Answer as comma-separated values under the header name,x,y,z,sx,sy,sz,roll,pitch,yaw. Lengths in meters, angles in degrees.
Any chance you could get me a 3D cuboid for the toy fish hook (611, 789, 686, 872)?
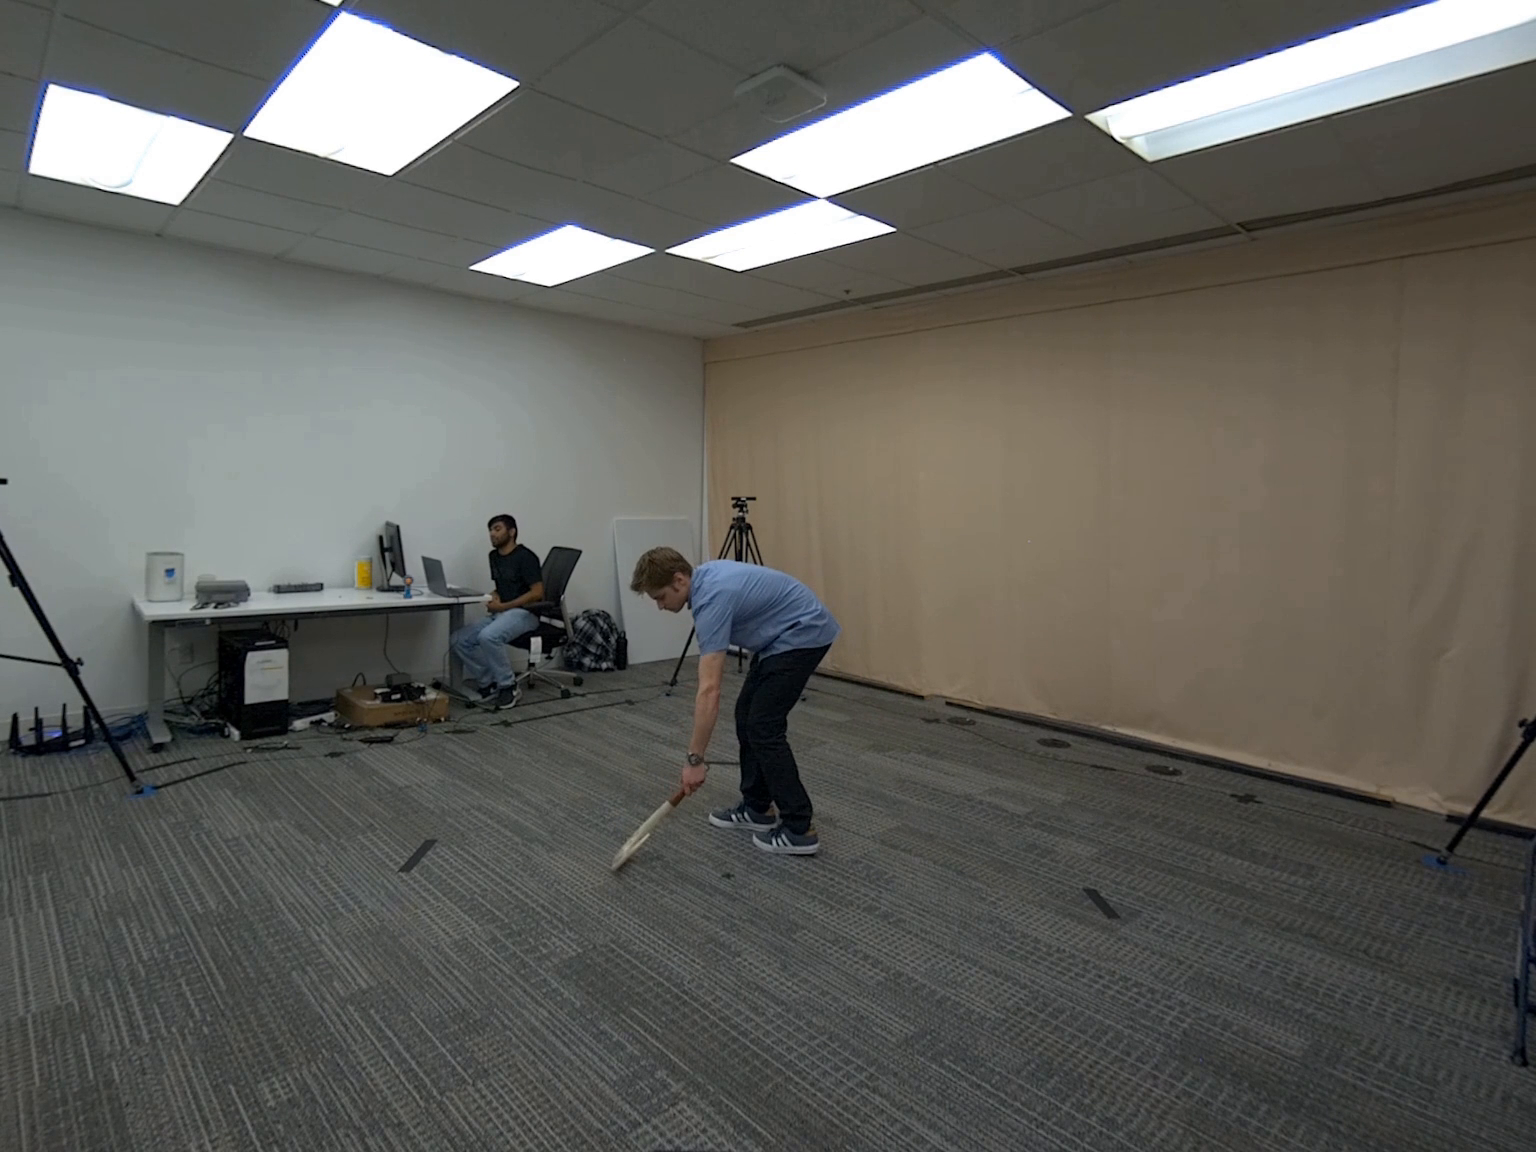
name,x,y,z,sx,sy,sz,roll,pitch,yaw
toy fish hook,-0.412,0.905,3.156,0.048,0.506,0.225,43,-5,-4
